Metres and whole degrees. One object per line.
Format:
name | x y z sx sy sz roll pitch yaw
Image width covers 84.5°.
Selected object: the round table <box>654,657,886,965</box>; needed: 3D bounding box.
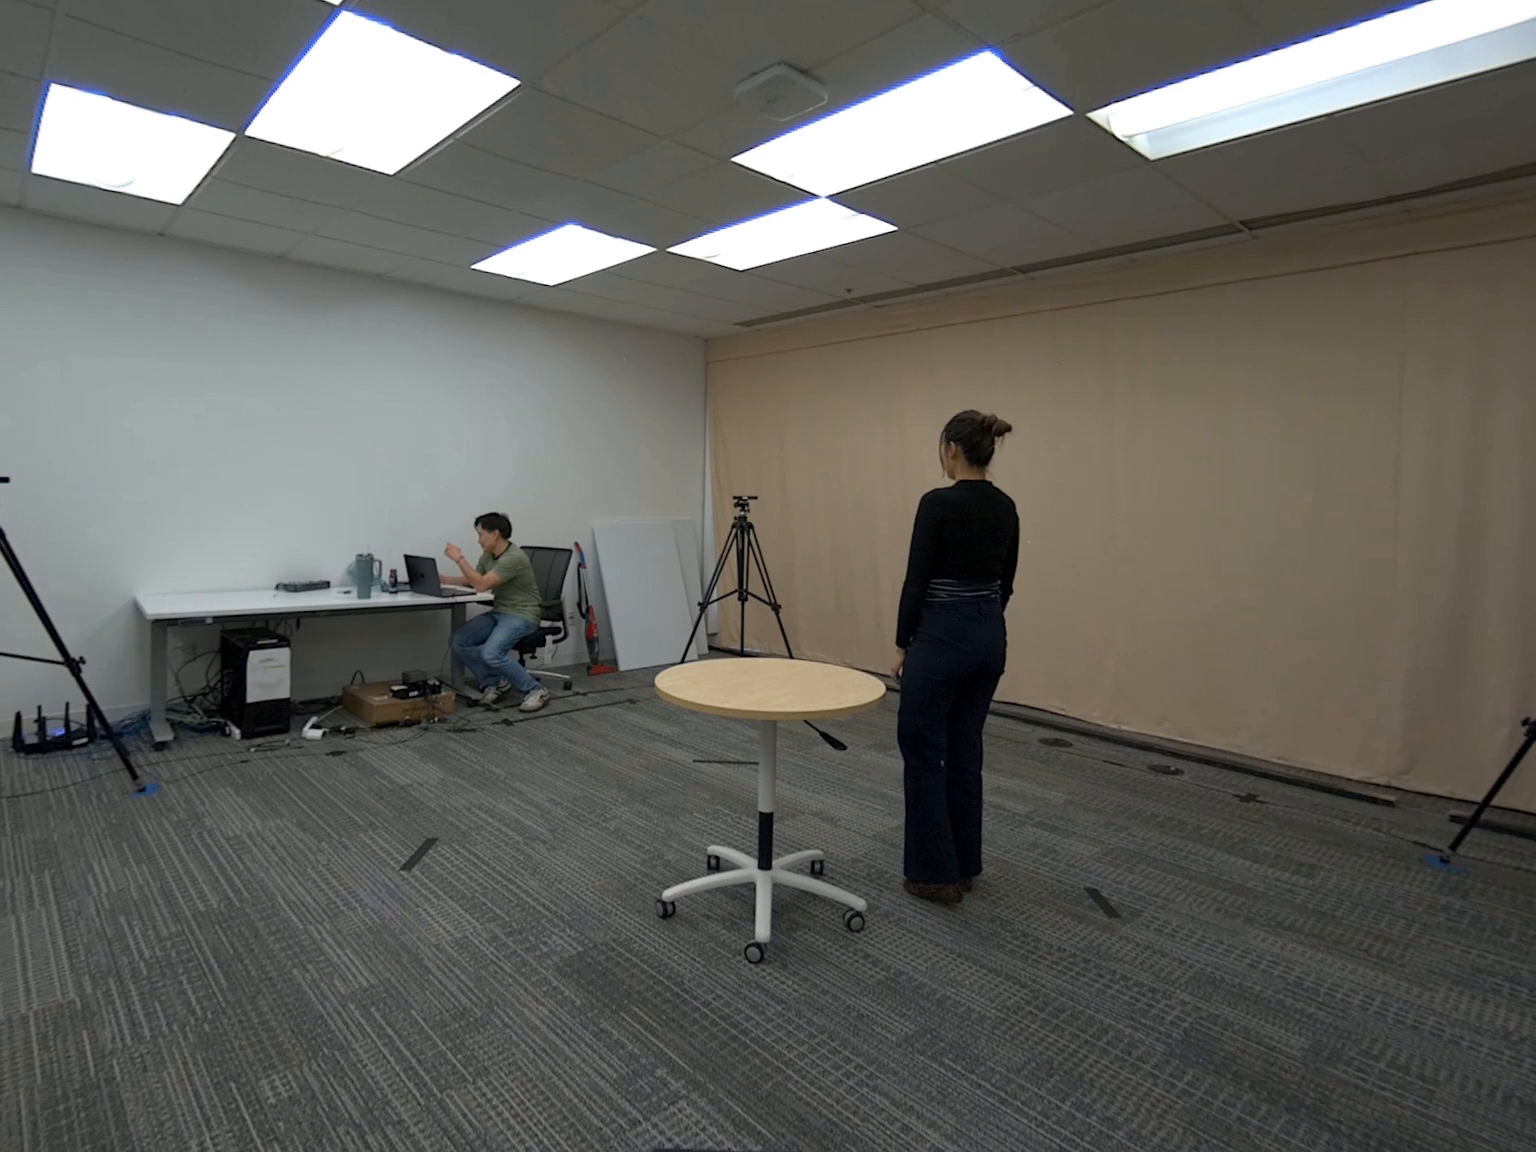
round table | -0.015 0.745 2.830 0.763 0.791 0.767 1 5 -1
